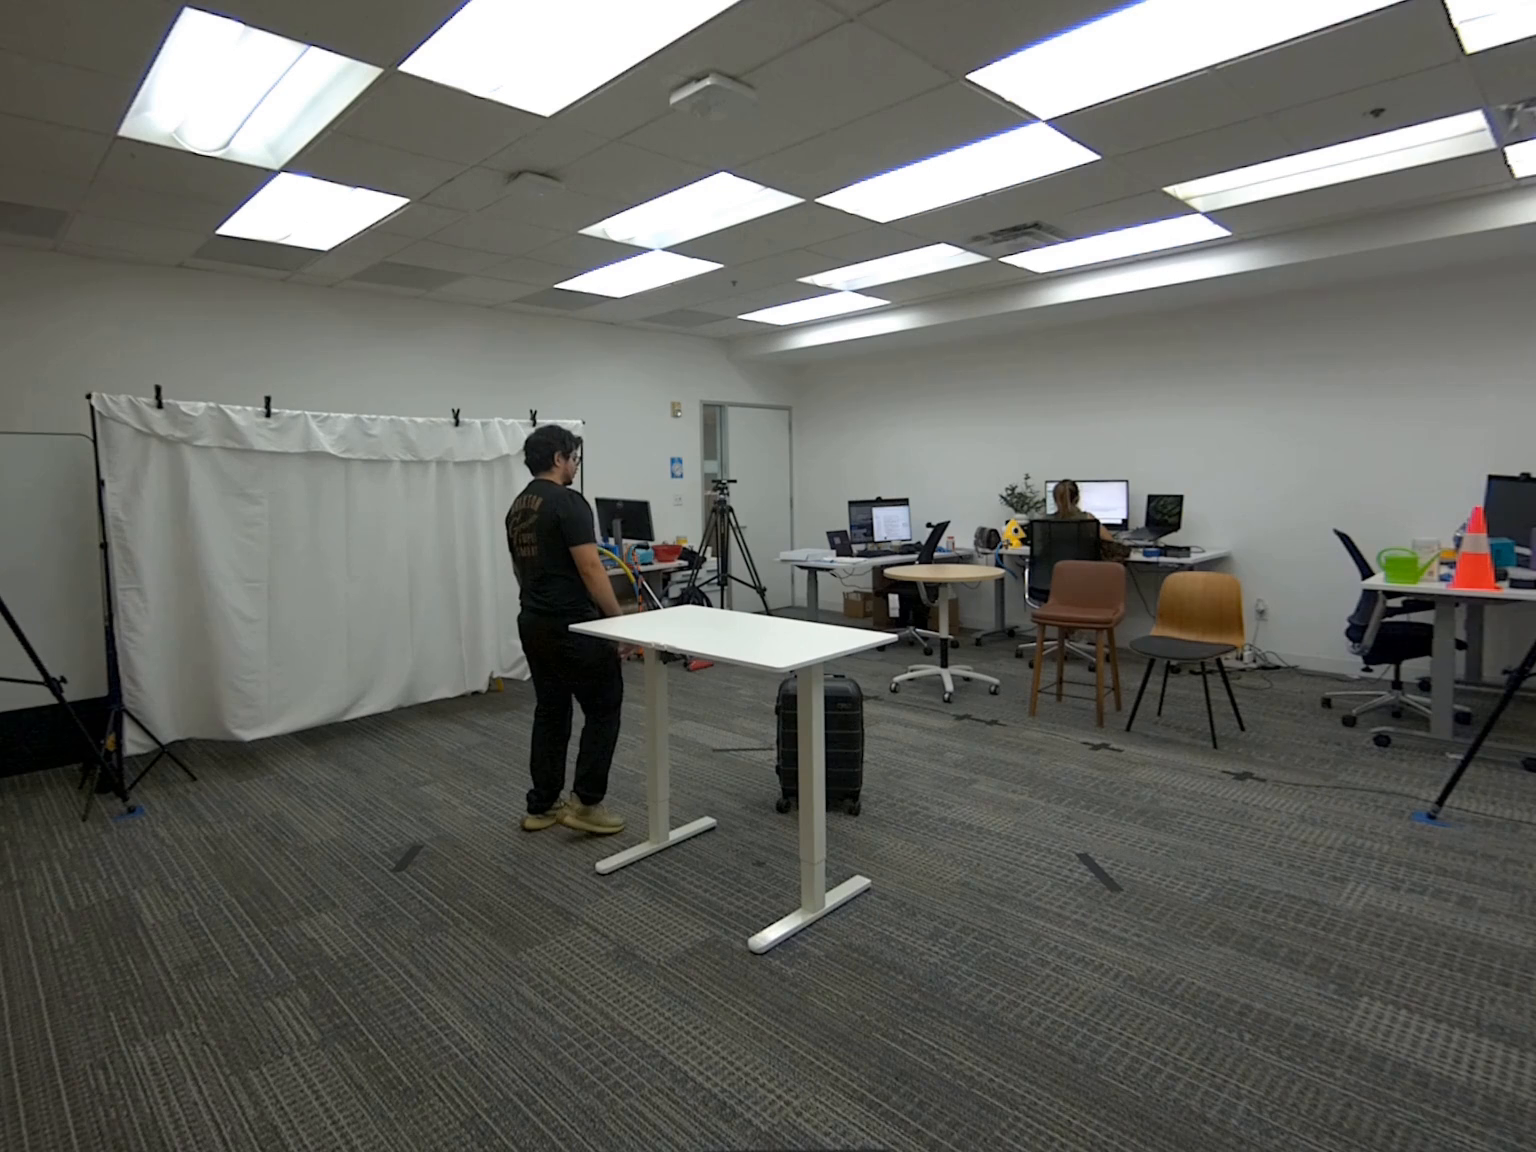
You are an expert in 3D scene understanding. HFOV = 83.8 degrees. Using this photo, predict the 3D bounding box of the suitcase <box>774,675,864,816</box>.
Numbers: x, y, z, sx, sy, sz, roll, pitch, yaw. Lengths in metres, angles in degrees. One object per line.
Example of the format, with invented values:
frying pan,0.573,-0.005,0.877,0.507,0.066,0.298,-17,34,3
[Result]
suitcase,0.228,0.706,3.676,0.377,0.549,0.247,1,1,4
